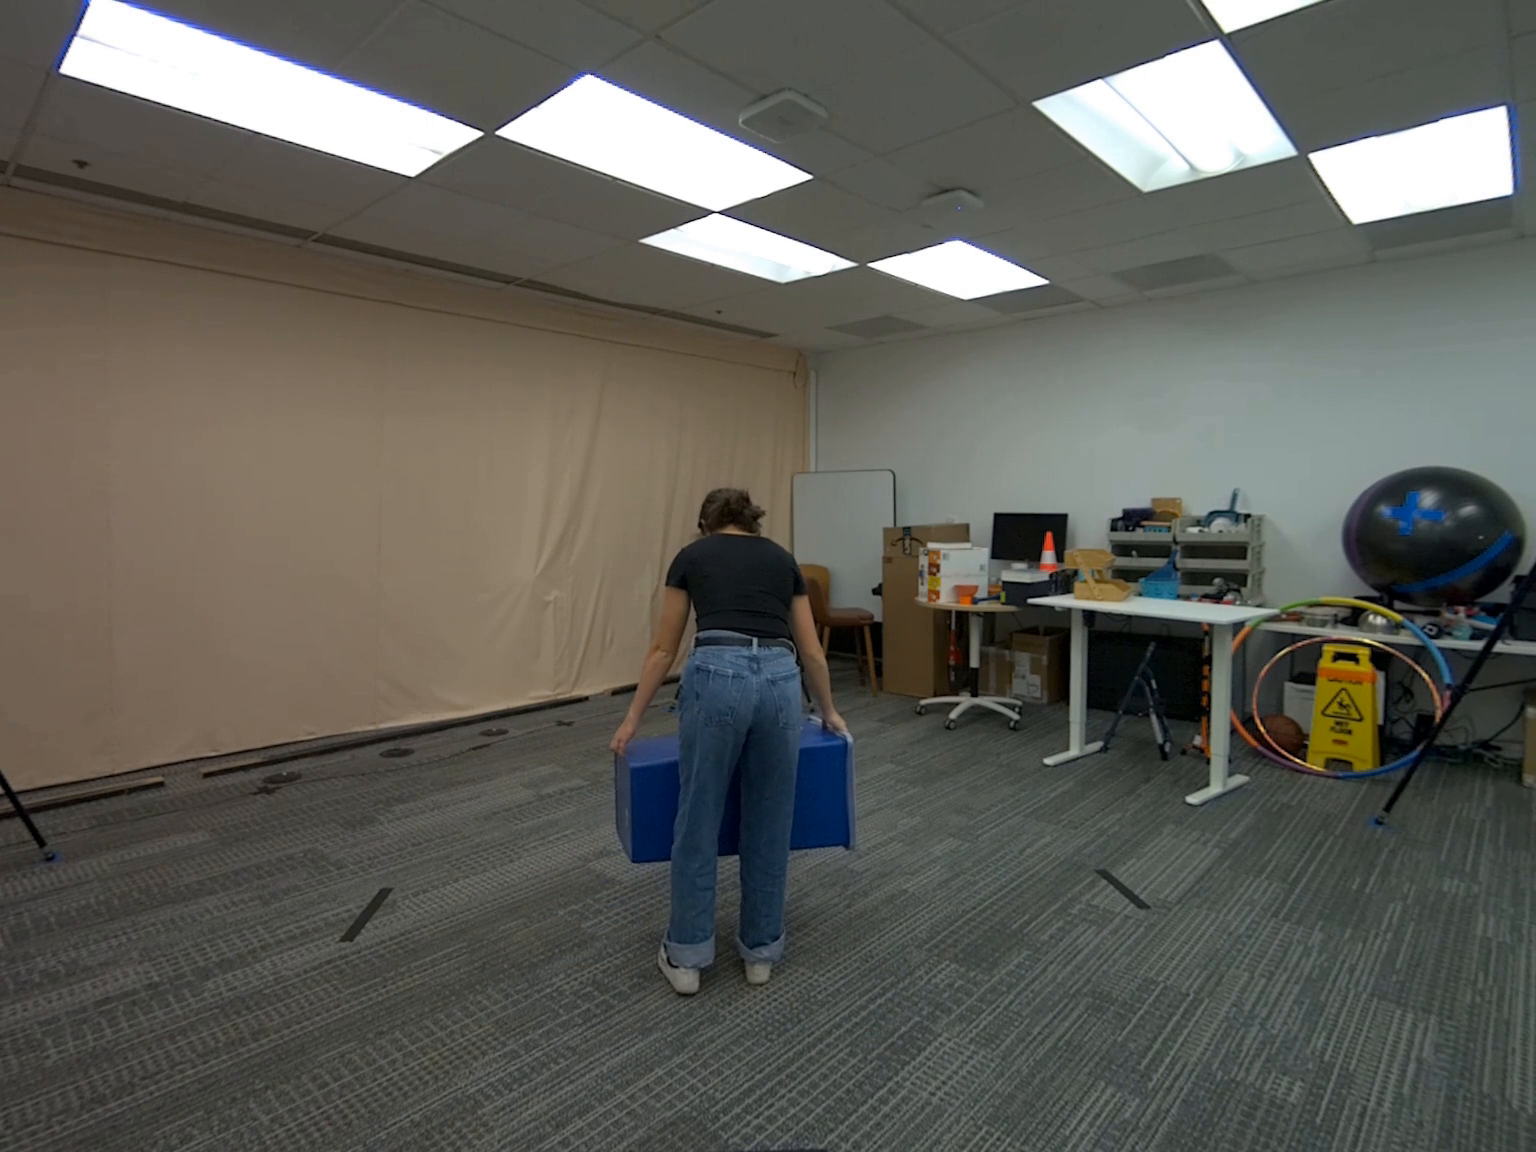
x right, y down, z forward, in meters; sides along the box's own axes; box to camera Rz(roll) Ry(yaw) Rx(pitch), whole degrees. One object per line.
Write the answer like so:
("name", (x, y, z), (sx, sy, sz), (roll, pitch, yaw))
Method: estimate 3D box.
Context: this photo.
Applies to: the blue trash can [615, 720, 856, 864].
("blue trash can", (-0.123, 0.701, 2.734), (0.702, 0.374, 0.384), (-2, 2, -15))
